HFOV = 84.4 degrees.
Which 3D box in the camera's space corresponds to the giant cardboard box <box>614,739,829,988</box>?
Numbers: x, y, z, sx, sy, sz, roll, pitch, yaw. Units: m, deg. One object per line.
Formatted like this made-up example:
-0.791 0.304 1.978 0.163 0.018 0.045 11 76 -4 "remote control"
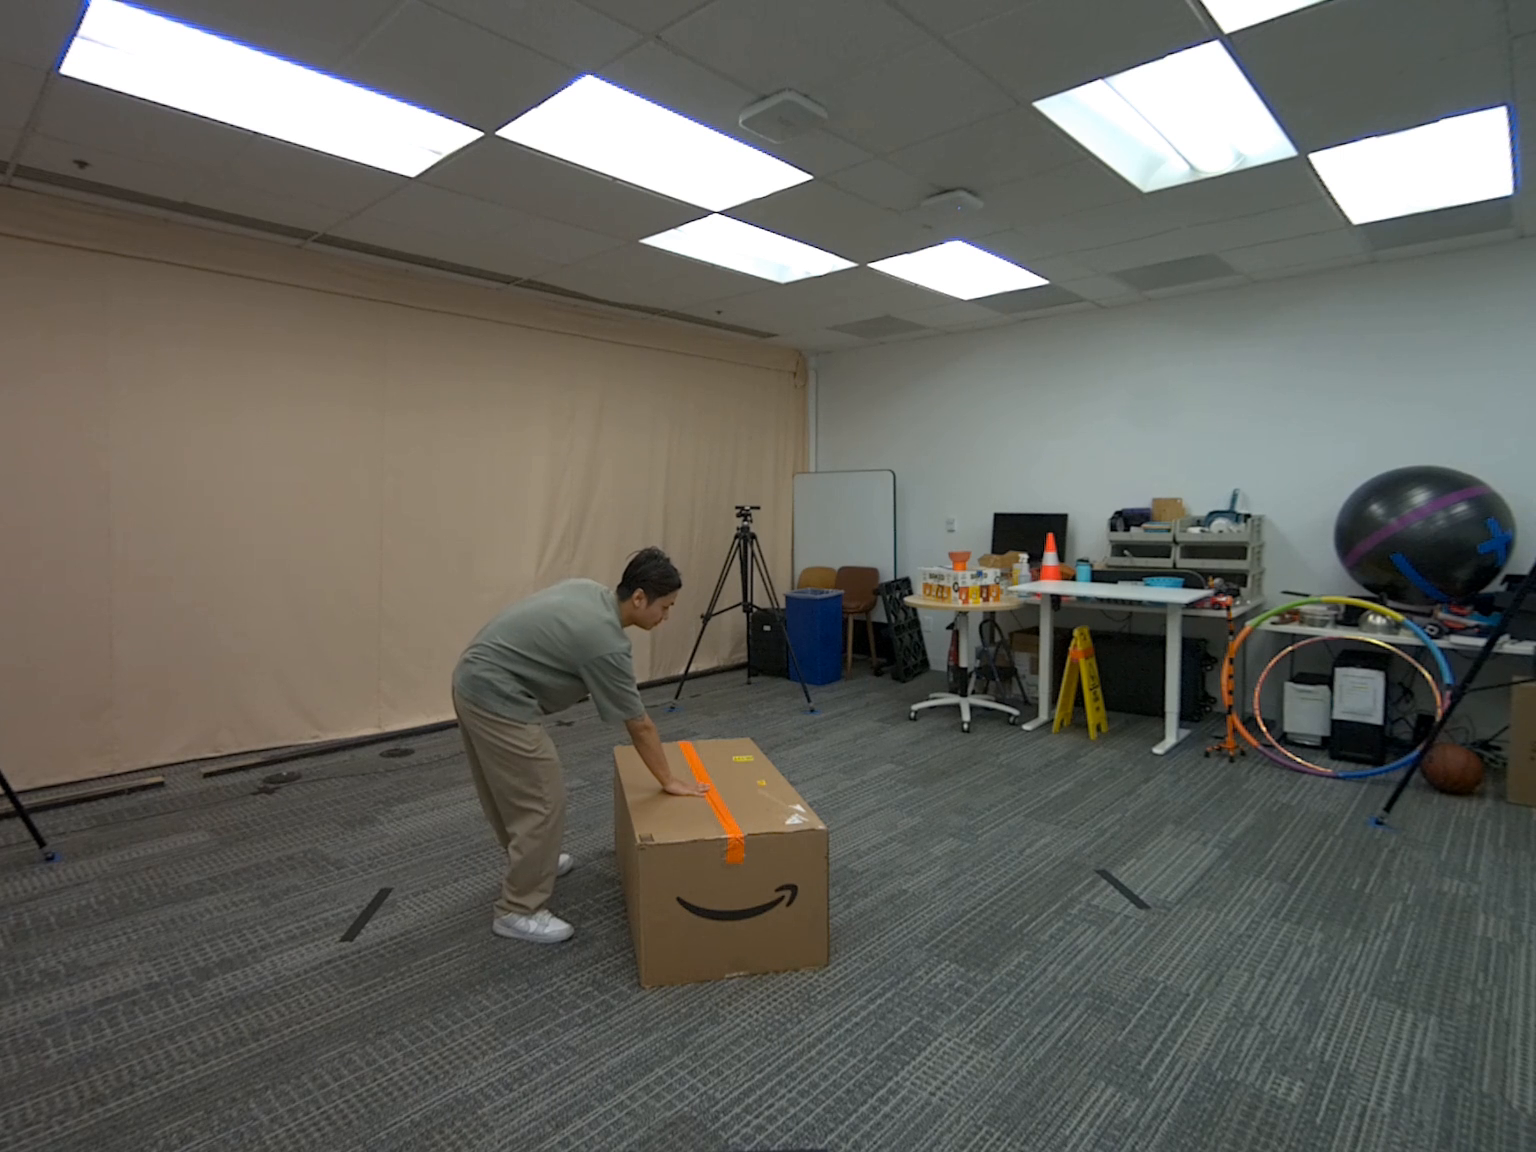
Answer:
-0.218 0.931 2.973 0.570 0.425 1.042 -1 5 -14 "giant cardboard box"
